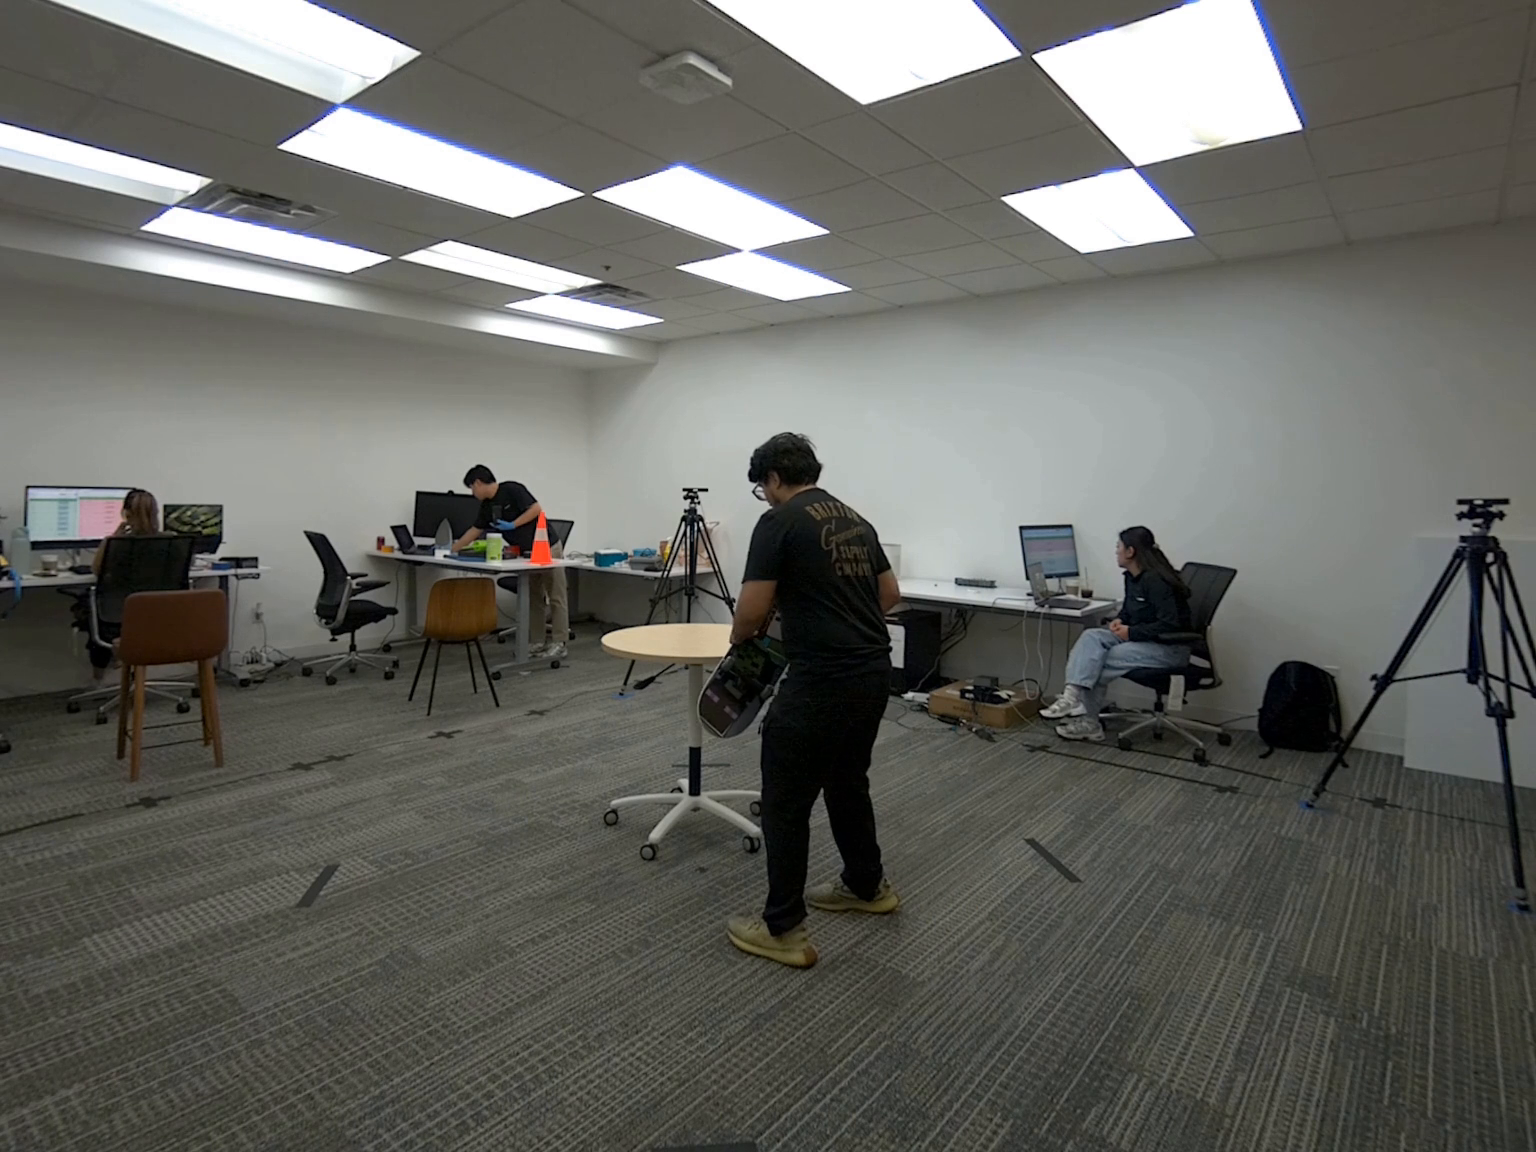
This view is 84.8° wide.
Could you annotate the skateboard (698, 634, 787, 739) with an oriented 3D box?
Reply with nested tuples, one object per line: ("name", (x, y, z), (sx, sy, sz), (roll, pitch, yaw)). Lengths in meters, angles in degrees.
("skateboard", (0.019, 0.189, 2.836), (0.193, 0.788, 0.110), (37, -28, -3))
